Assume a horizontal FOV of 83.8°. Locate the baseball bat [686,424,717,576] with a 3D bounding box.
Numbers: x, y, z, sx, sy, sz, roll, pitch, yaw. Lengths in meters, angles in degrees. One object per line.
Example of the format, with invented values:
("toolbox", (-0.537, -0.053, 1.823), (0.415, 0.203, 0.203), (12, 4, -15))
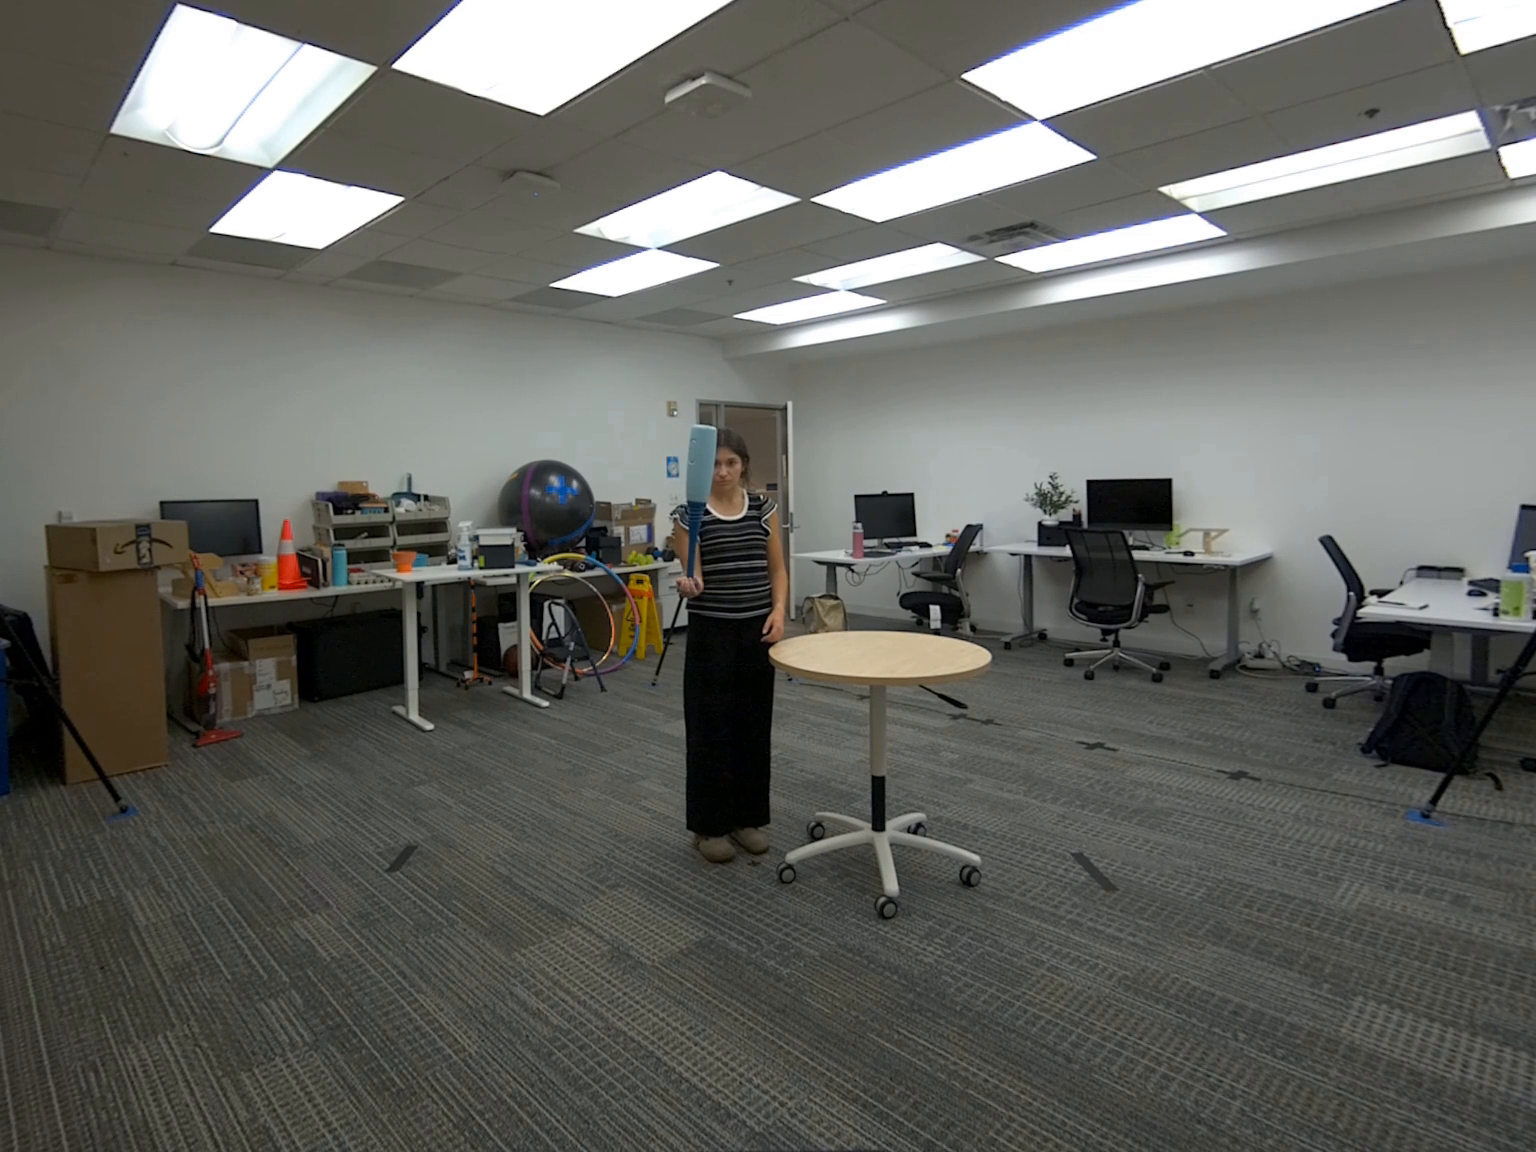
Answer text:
("baseball bat", (-0.236, -0.228, 2.828), (0.089, 0.540, 0.089), (5, 5, -2))
